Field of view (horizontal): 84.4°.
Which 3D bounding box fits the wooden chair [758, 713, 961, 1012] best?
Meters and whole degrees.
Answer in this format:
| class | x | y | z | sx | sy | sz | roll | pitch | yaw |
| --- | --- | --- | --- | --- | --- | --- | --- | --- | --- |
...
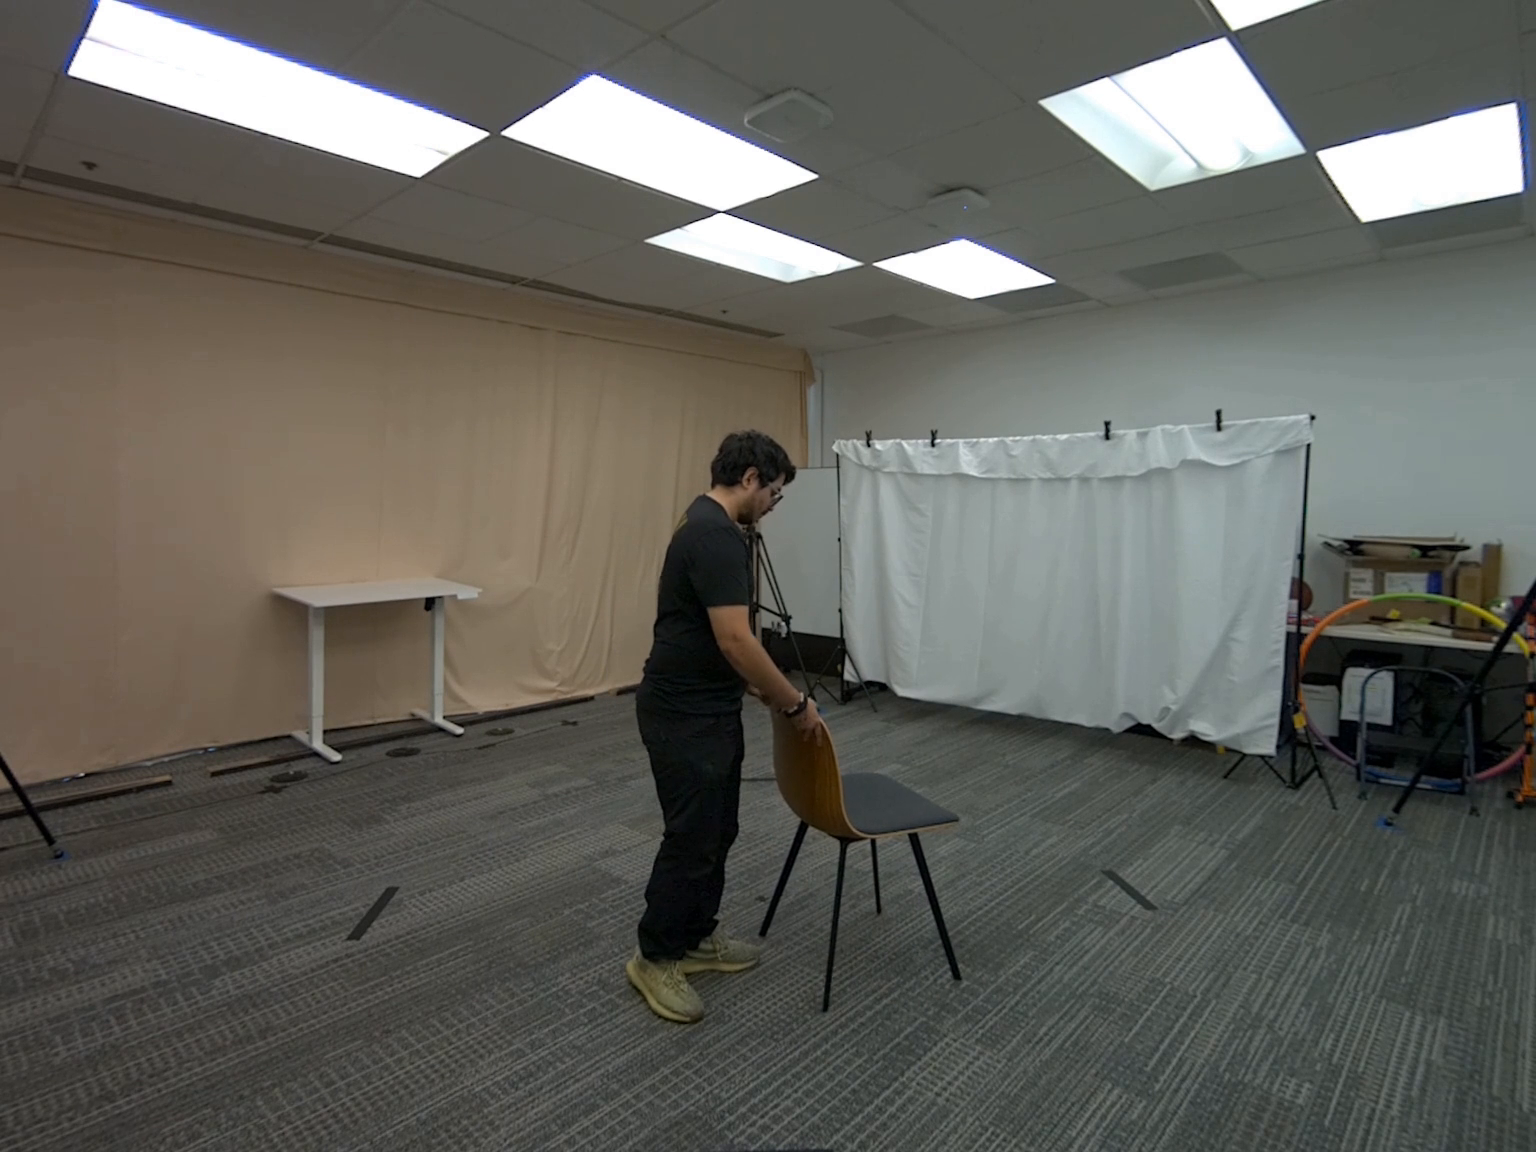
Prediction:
| class | x | y | z | sx | sy | sz | roll | pitch | yaw |
| --- | --- | --- | --- | --- | --- | --- | --- | --- | --- |
| wooden chair | 0.286 | 0.752 | 2.577 | 0.512 | 0.875 | 0.490 | -6 | 5 | -23 |
